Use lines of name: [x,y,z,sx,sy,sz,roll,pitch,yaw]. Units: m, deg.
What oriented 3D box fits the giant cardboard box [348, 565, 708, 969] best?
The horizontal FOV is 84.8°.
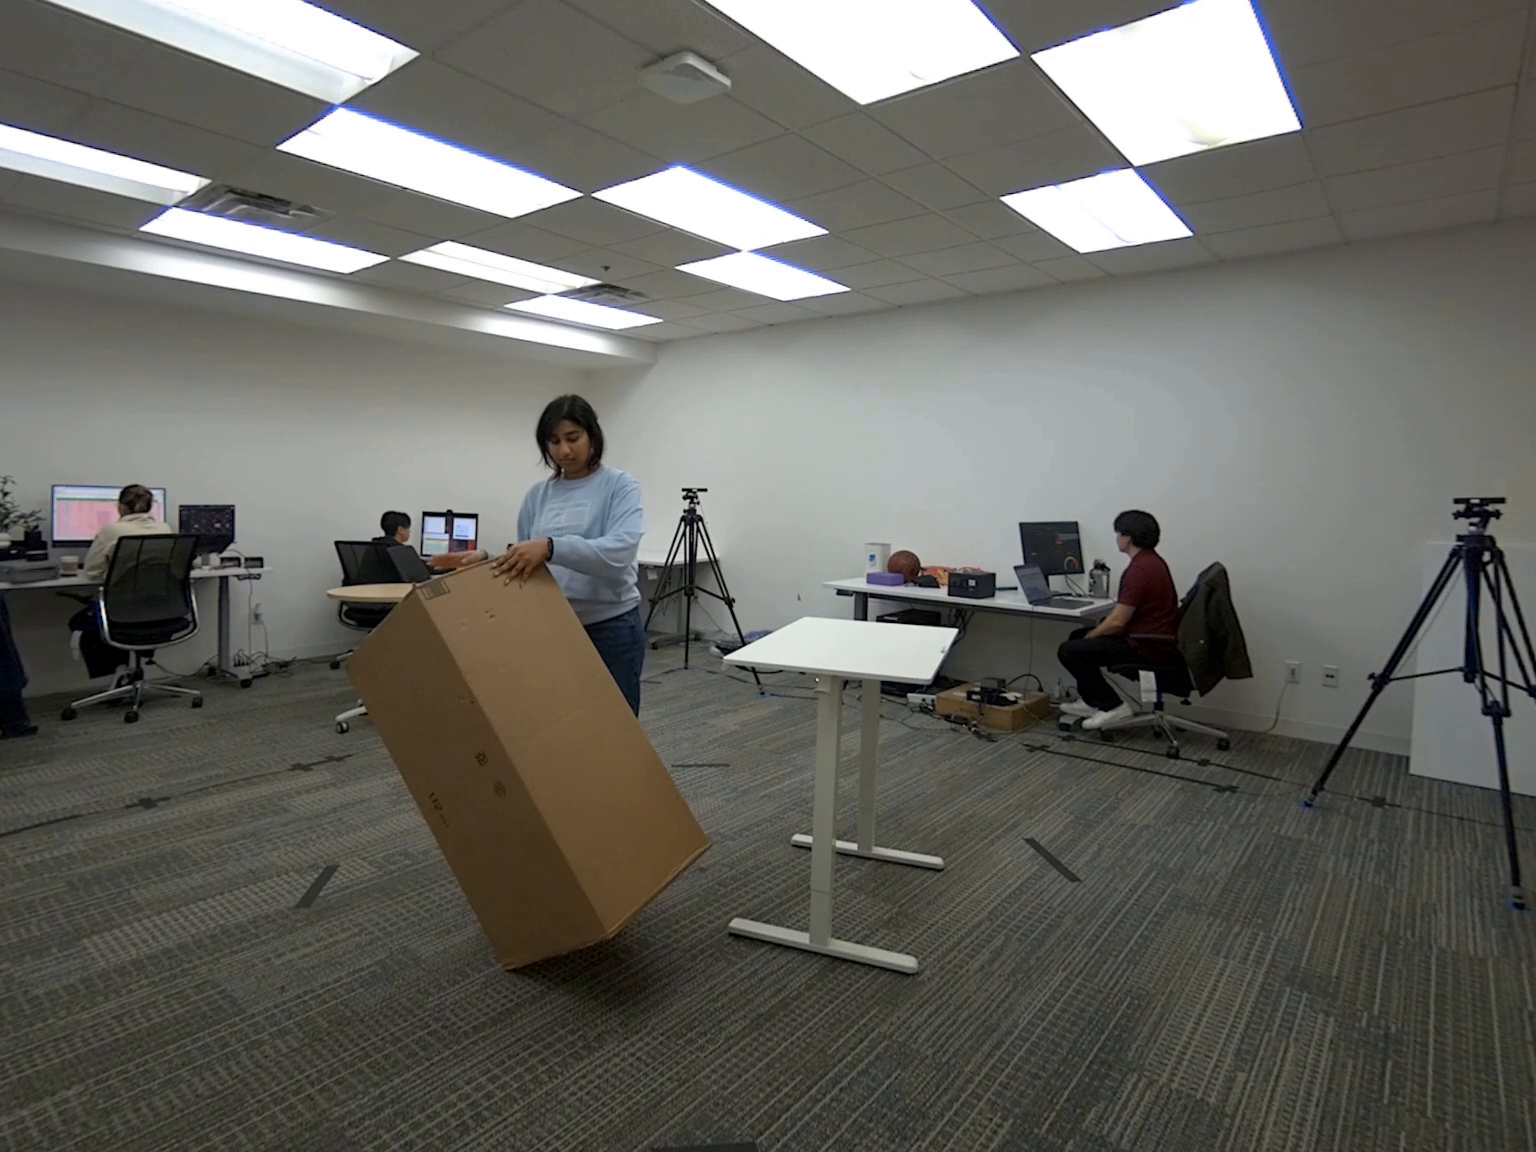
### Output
giant cardboard box: [-0.735,0.525,2.491,0.582,1.036,0.419,-37,-8,38]
